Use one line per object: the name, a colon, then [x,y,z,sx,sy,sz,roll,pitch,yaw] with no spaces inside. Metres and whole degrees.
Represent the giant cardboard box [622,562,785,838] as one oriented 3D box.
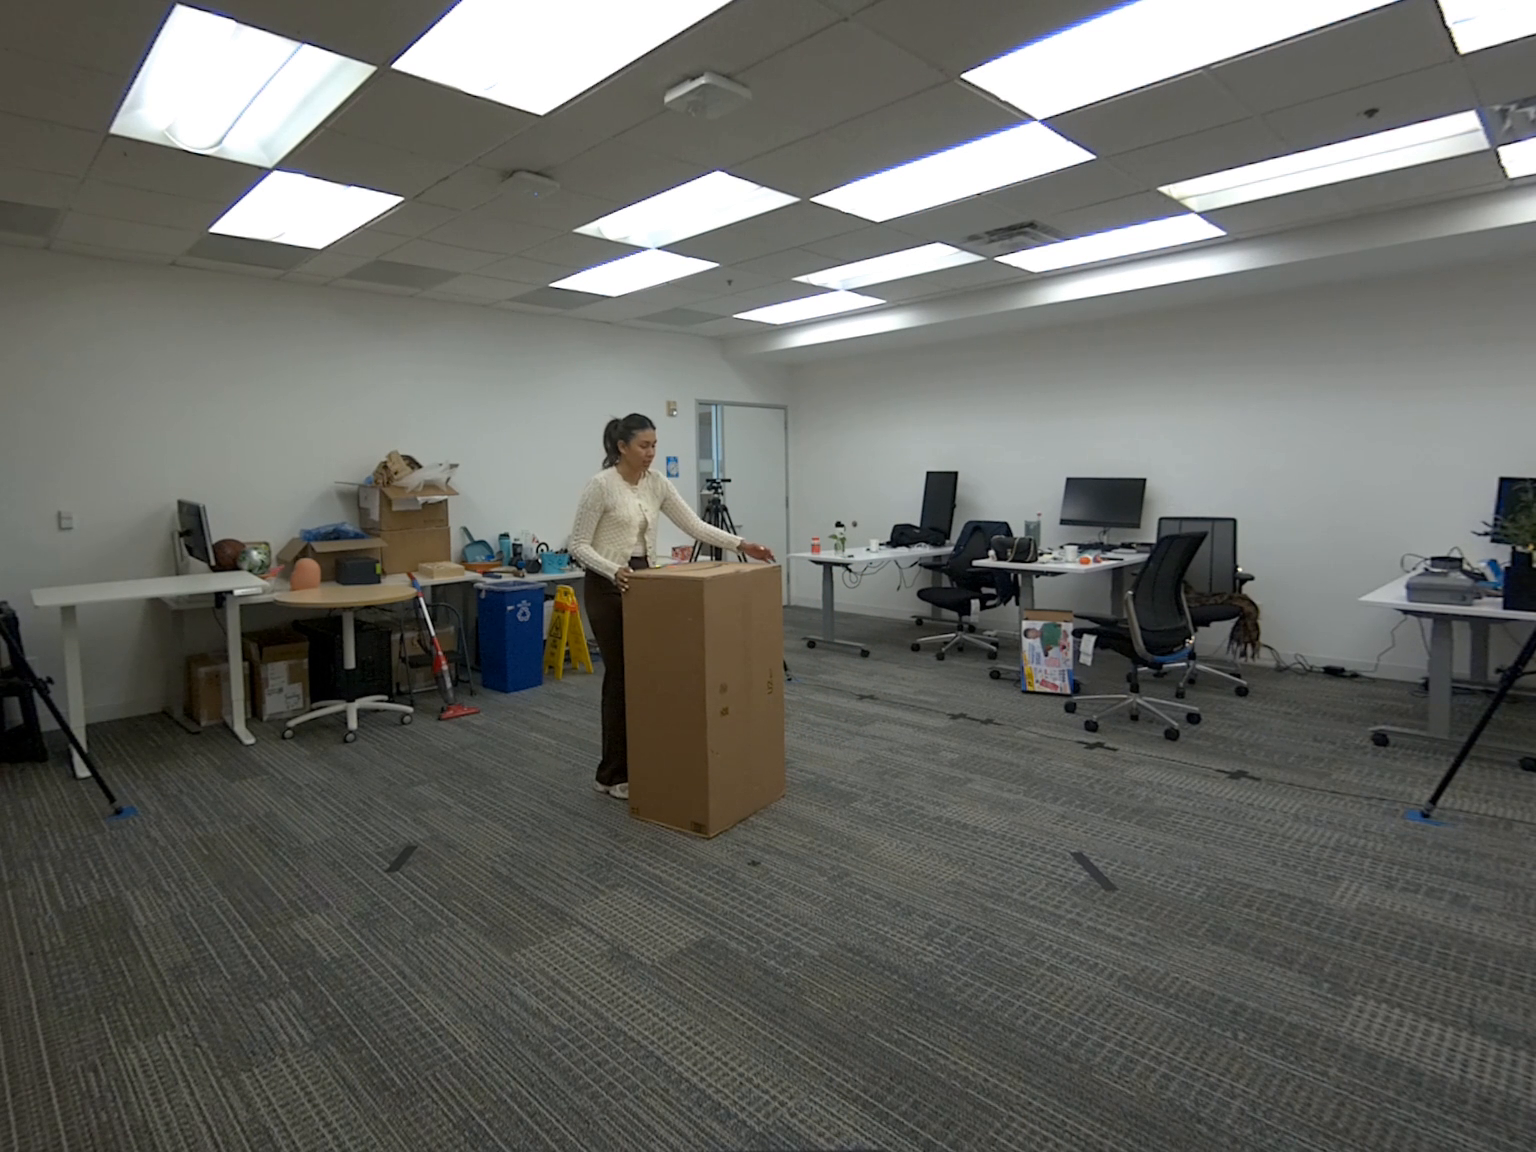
giant cardboard box: [-0.260,0.477,3.631,0.438,1.022,0.563,1,5,35]
